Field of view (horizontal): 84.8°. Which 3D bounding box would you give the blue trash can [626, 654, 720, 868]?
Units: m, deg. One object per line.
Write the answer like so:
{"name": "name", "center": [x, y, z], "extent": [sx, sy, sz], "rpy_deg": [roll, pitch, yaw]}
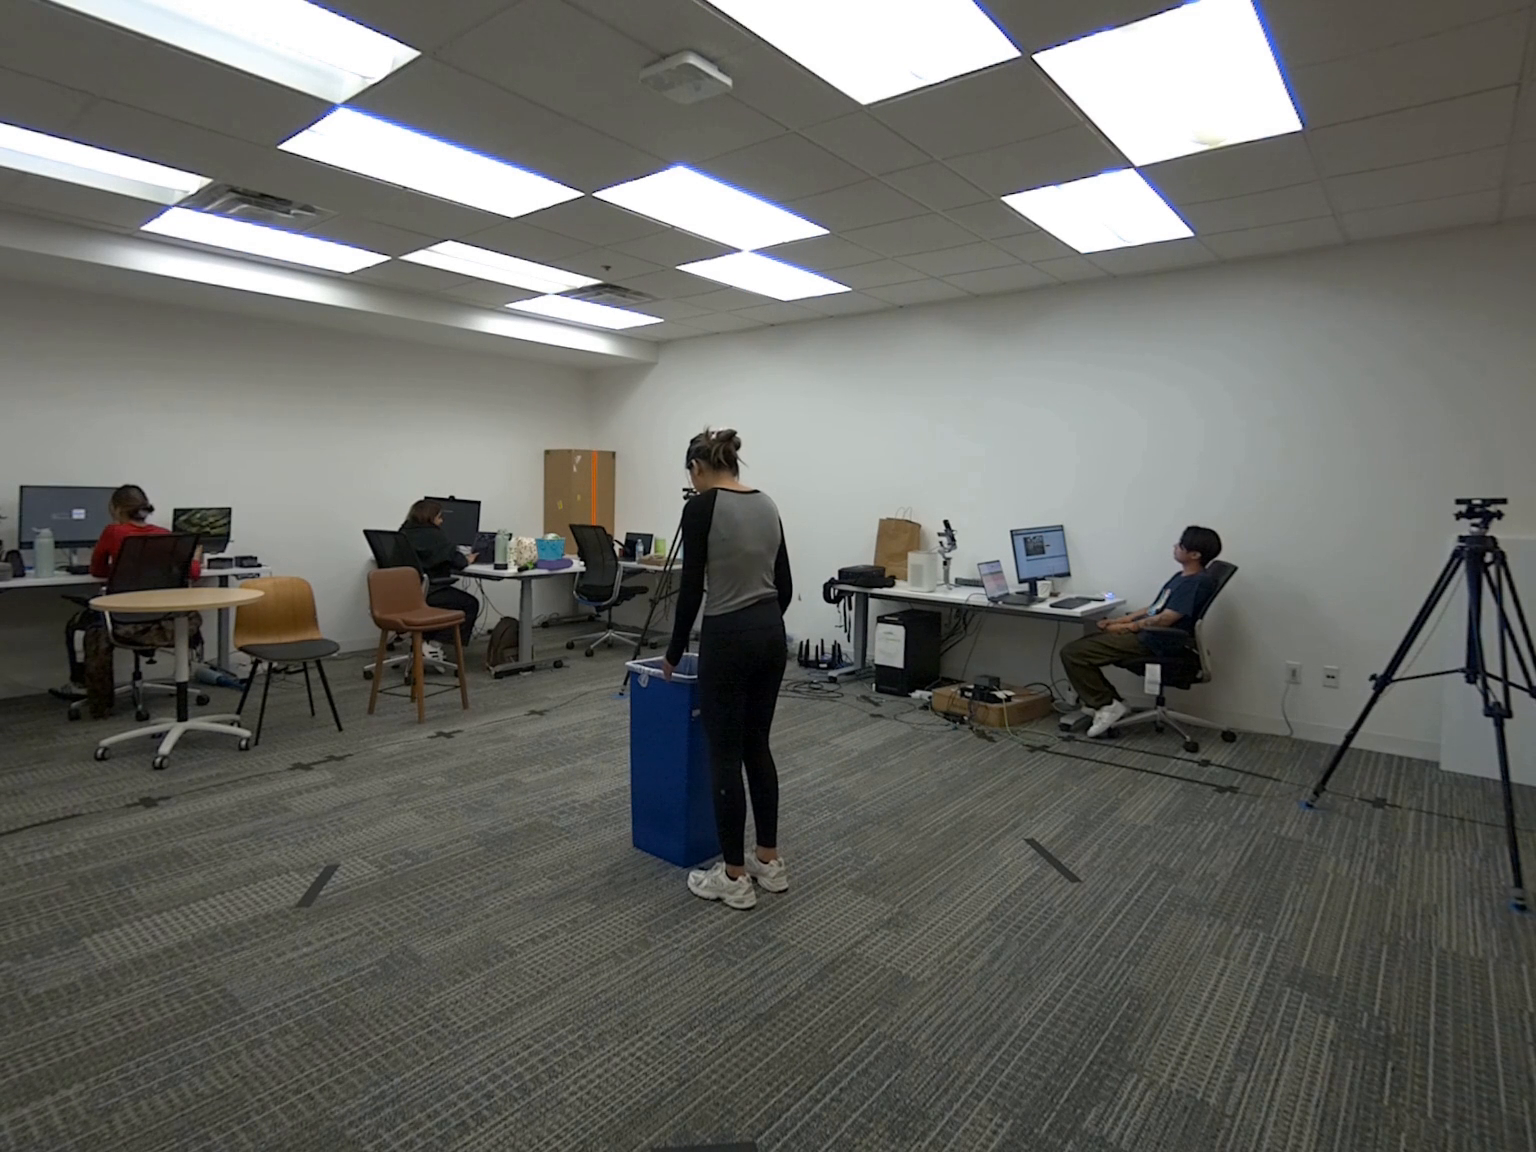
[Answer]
{"name": "blue trash can", "center": [-0.325, 0.691, 3.309], "extent": [0.391, 0.711, 0.363], "rpy_deg": [4, 4, 40]}
